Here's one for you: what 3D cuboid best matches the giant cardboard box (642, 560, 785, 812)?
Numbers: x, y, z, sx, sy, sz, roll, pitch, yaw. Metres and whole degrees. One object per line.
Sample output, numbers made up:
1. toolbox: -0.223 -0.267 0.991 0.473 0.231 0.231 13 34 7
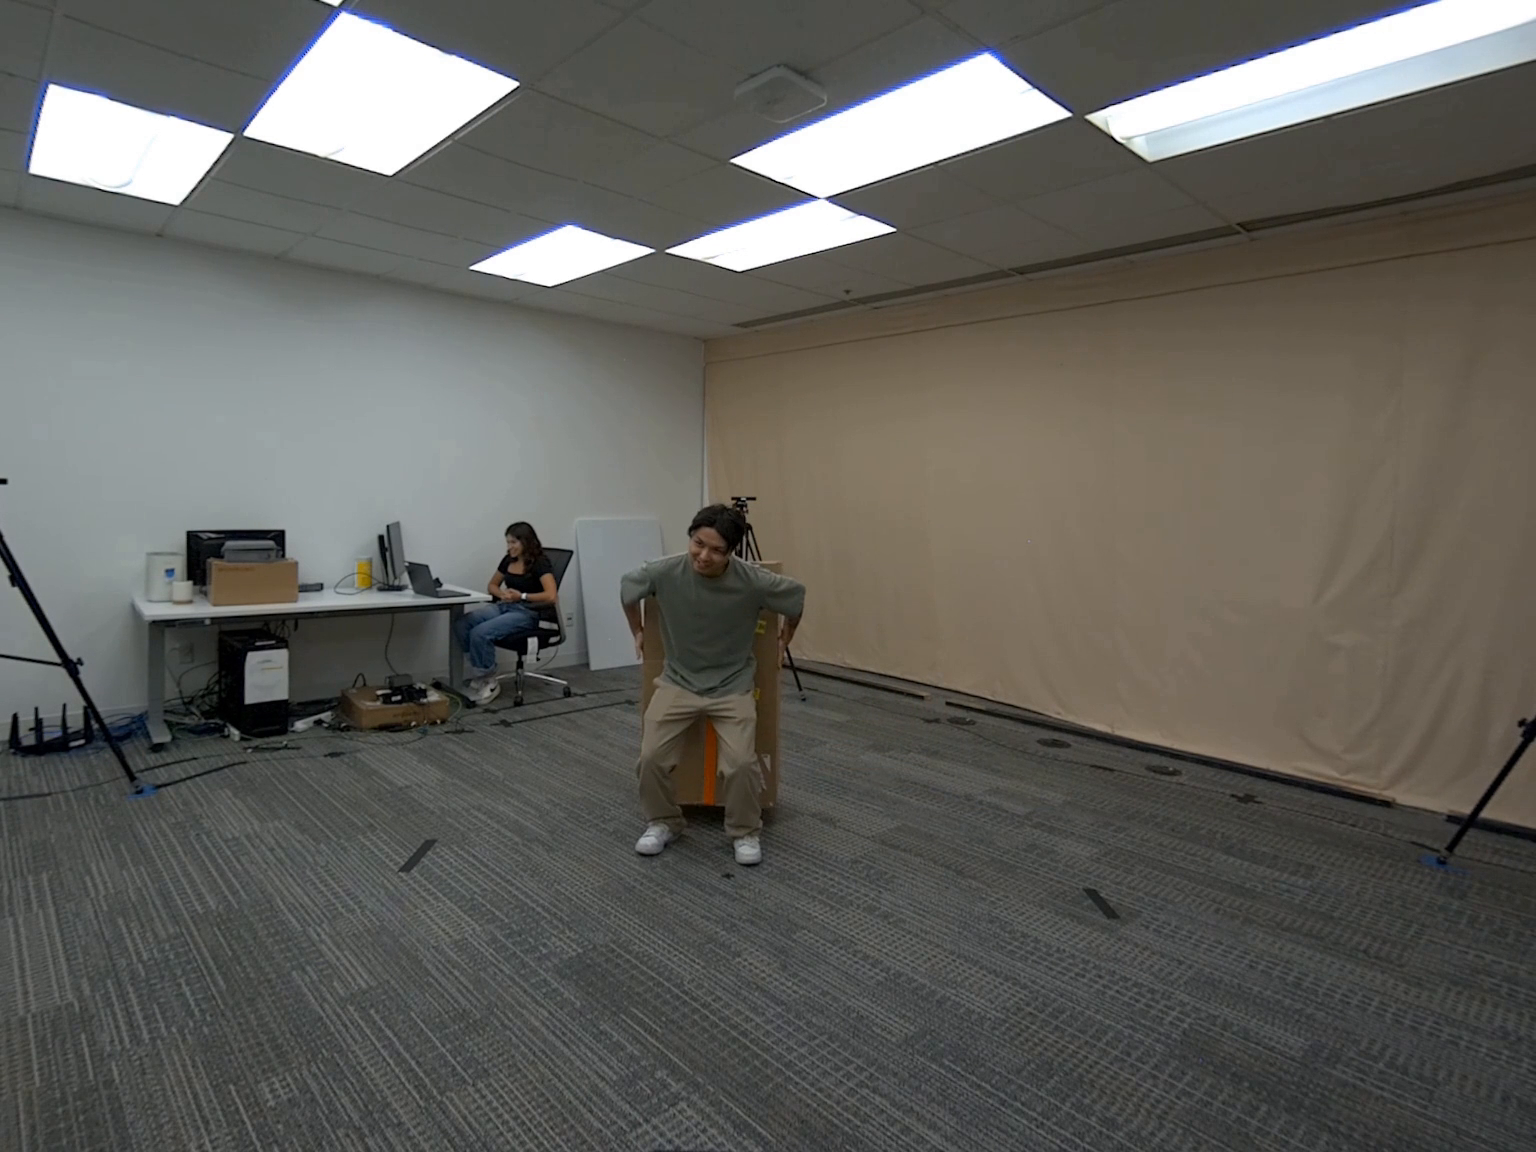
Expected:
1. giant cardboard box: -0.243 0.448 3.743 0.579 1.027 0.424 1 -1 4
